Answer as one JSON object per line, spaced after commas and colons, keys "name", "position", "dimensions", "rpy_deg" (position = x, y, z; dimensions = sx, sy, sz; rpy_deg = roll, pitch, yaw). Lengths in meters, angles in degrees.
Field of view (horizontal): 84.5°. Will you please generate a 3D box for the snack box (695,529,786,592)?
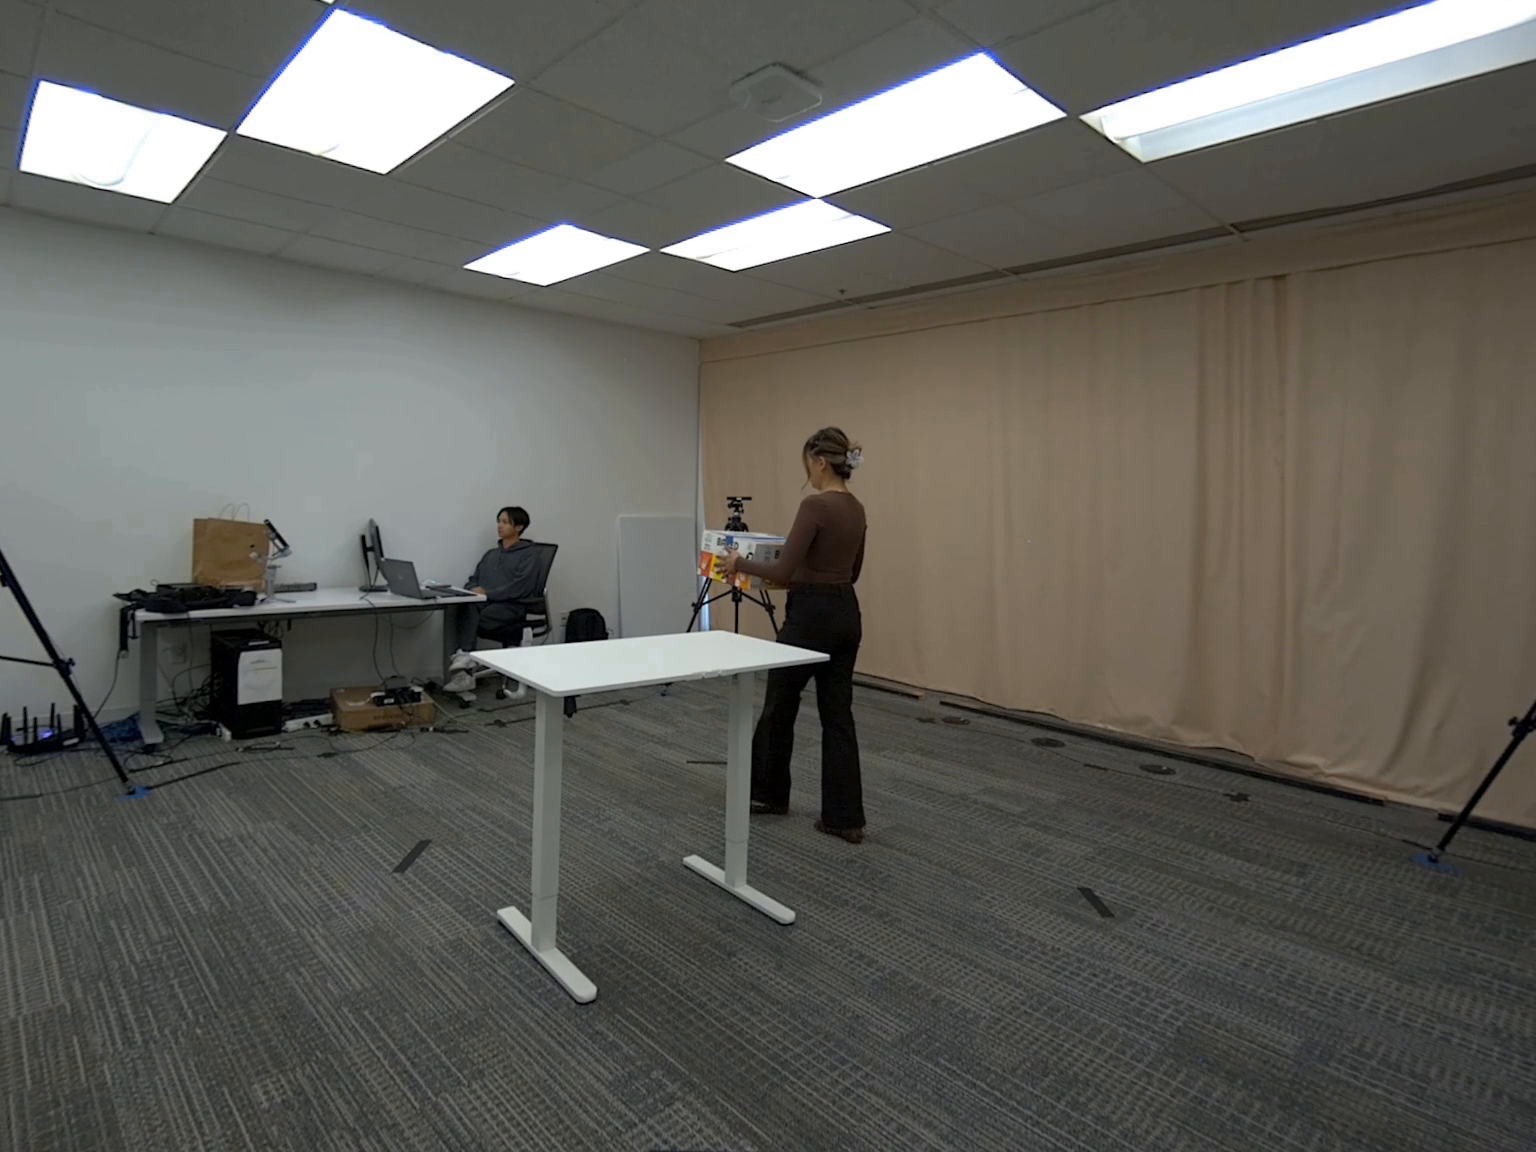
{"name": "snack box", "position": [-0.049, -0.071, 3.771], "dimensions": [0.395, 0.205, 0.350], "rpy_deg": [1, 11, -44]}
